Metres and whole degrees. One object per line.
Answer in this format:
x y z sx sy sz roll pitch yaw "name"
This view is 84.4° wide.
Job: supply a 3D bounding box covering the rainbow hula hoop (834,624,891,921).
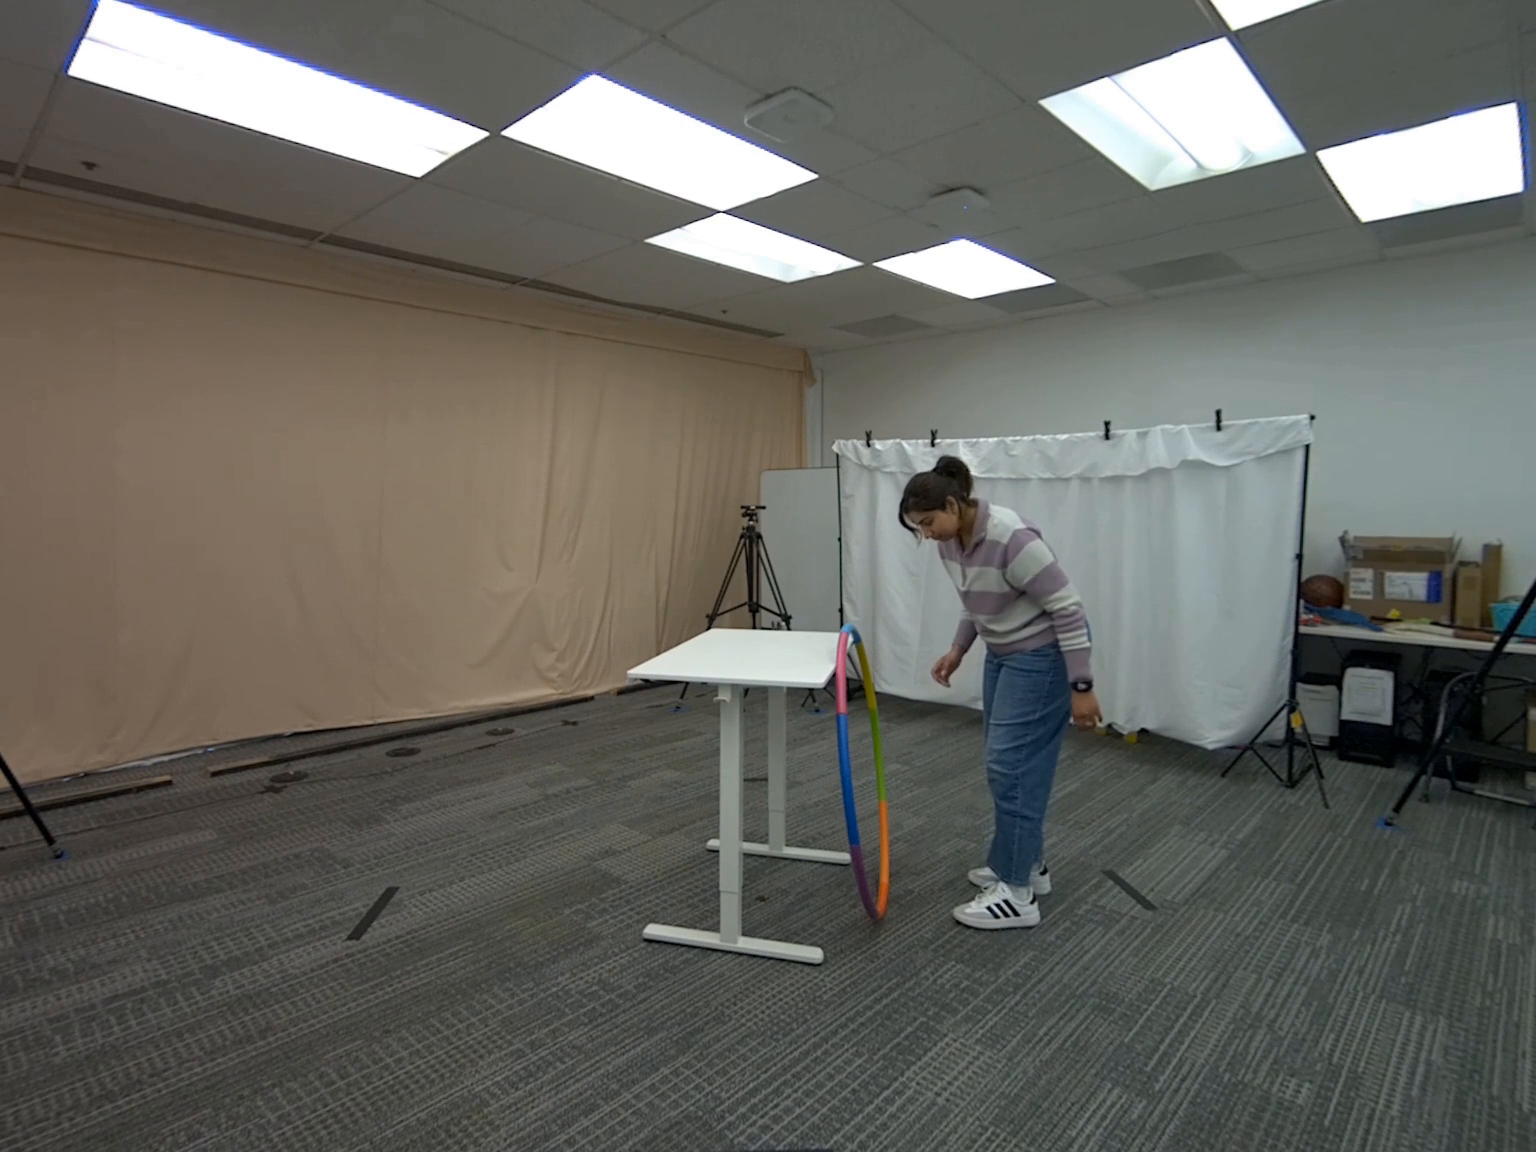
0.343 0.668 2.922 0.036 0.978 0.967 -8 2 12 "rainbow hula hoop"
